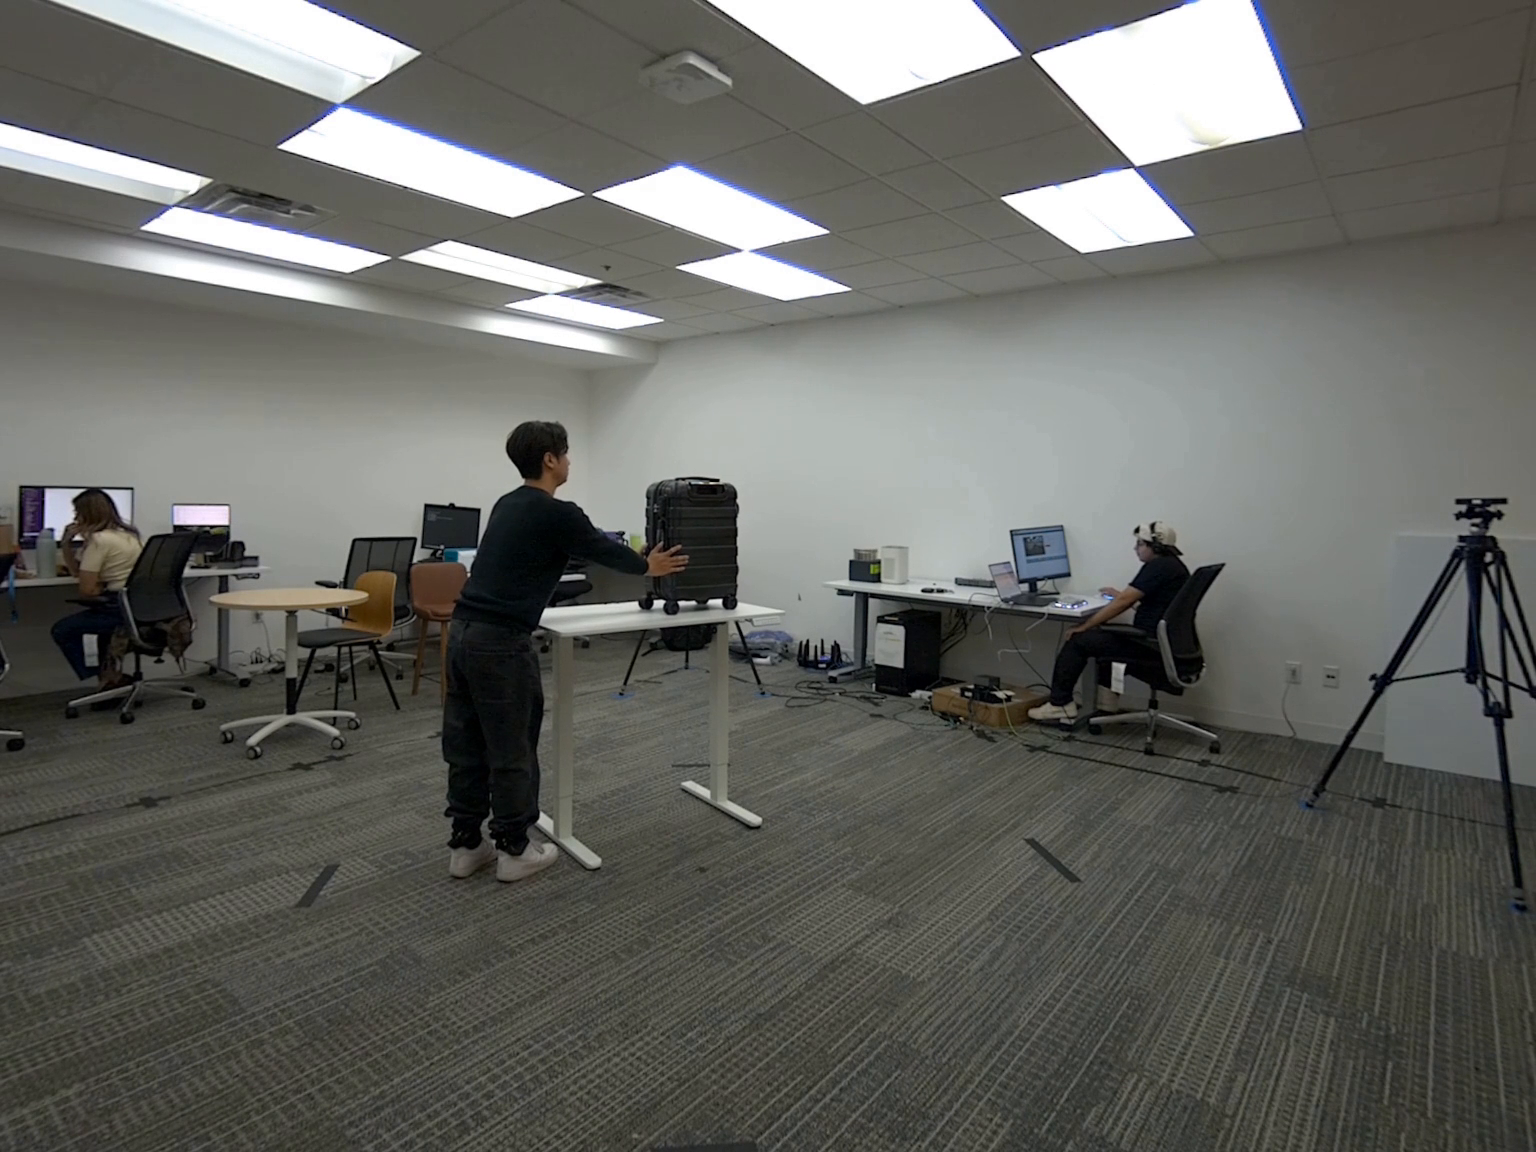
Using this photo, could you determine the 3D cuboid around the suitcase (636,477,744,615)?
[{"bbox_3d":[-0.334,-0.141,3.577,0.364,0.548,0.256,-3,4,-38],"label":"suitcase"}]
